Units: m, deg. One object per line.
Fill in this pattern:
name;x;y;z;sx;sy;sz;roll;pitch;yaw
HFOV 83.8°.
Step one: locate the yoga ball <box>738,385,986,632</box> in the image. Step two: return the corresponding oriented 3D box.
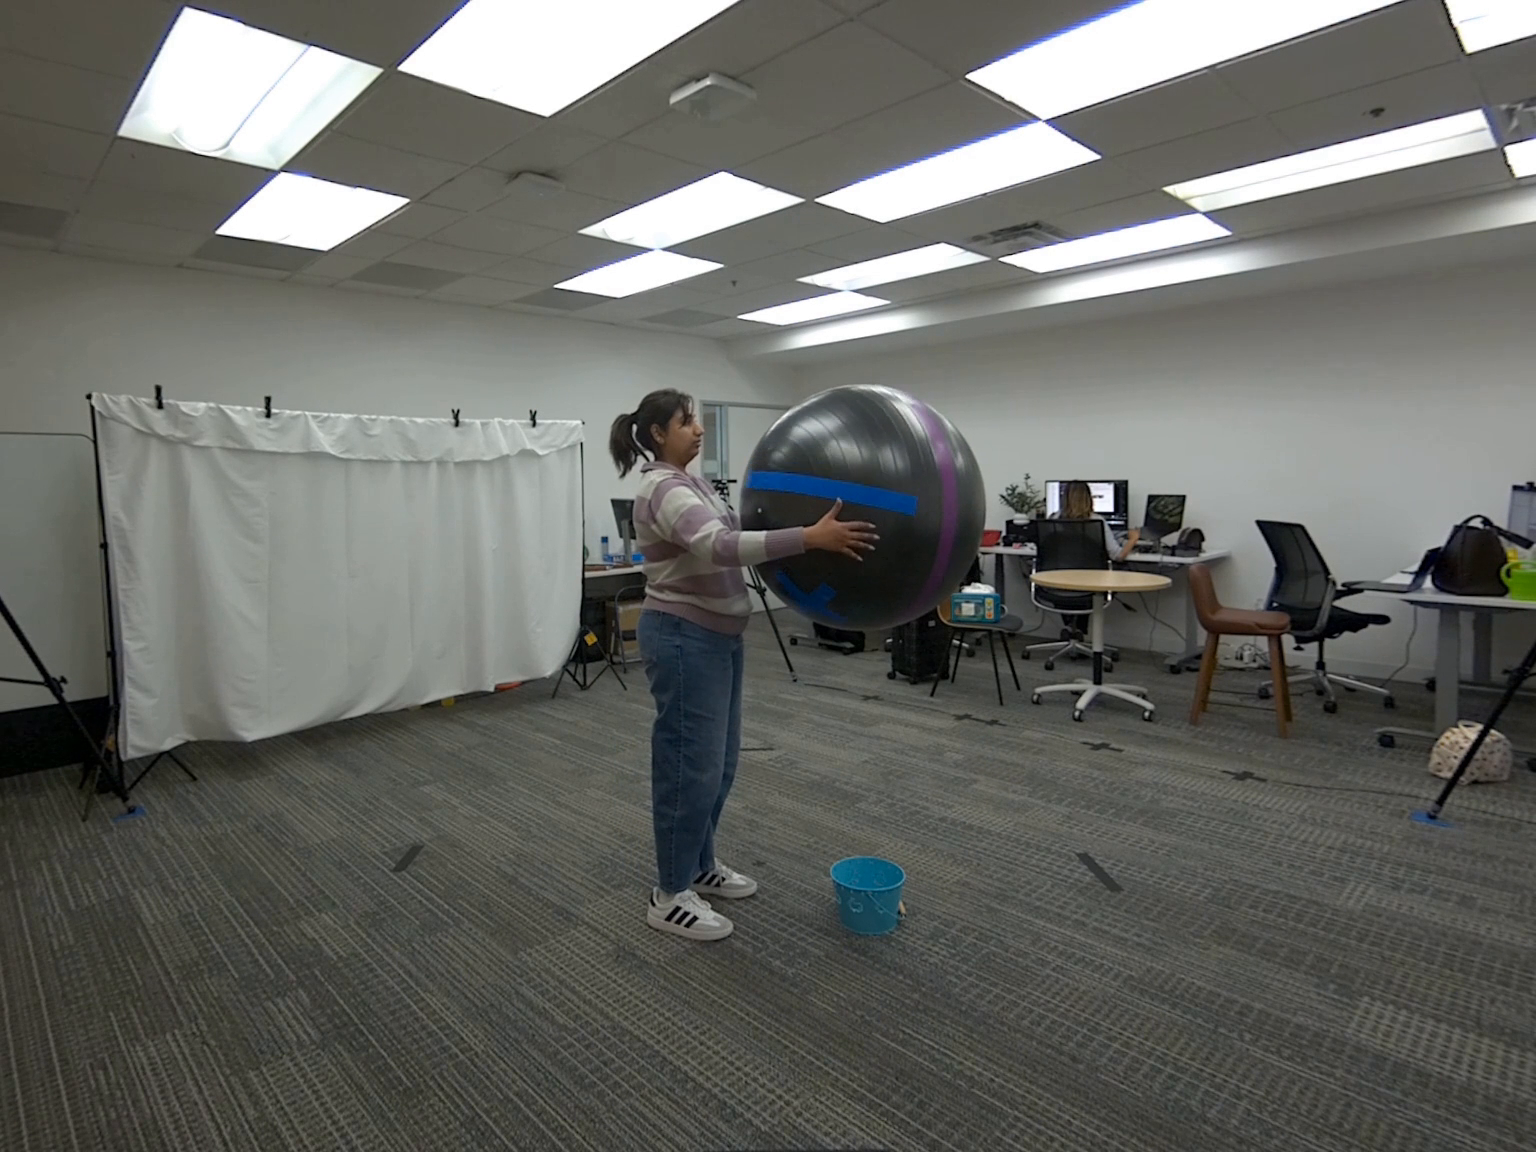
yoga ball;0.304;-0.209;2.667;0.757;0.755;0.762;-1;5;-2
